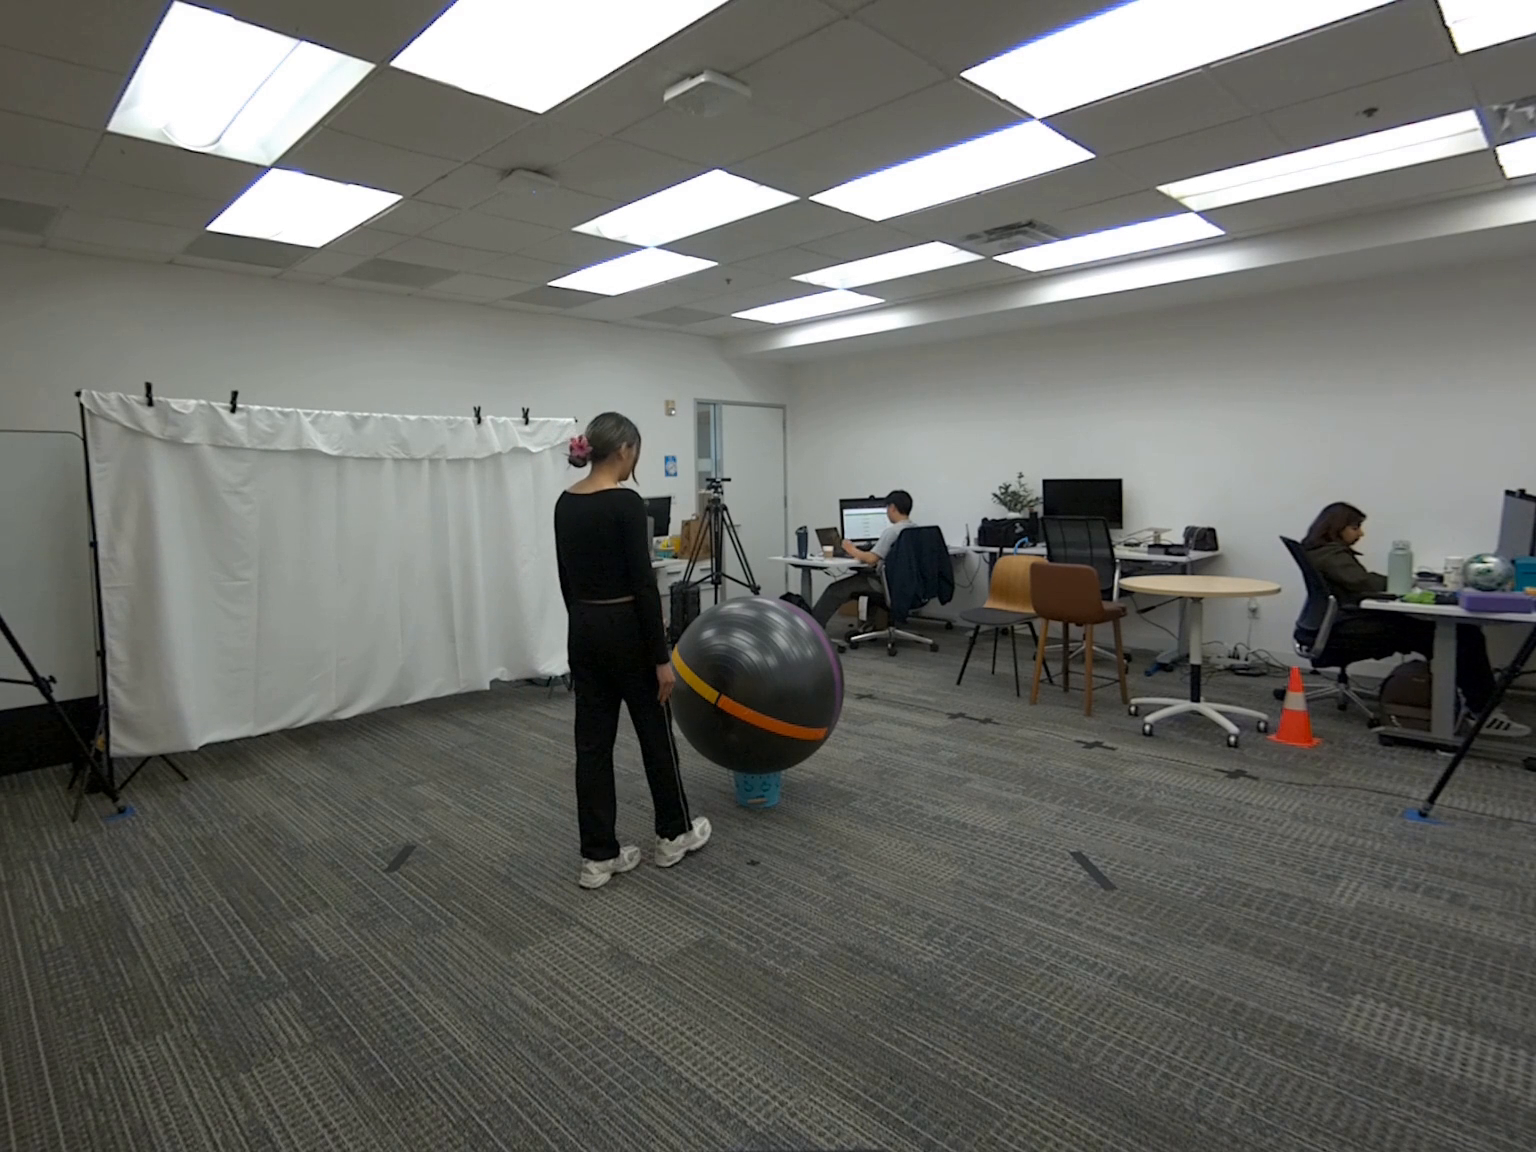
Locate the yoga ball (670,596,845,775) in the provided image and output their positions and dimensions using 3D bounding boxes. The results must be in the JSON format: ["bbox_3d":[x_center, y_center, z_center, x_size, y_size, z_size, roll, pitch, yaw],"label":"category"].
[{"bbox_3d":[-0.051,0.468,3.690,0.757,0.755,0.762,-1,5,-2],"label":"yoga ball"}]
